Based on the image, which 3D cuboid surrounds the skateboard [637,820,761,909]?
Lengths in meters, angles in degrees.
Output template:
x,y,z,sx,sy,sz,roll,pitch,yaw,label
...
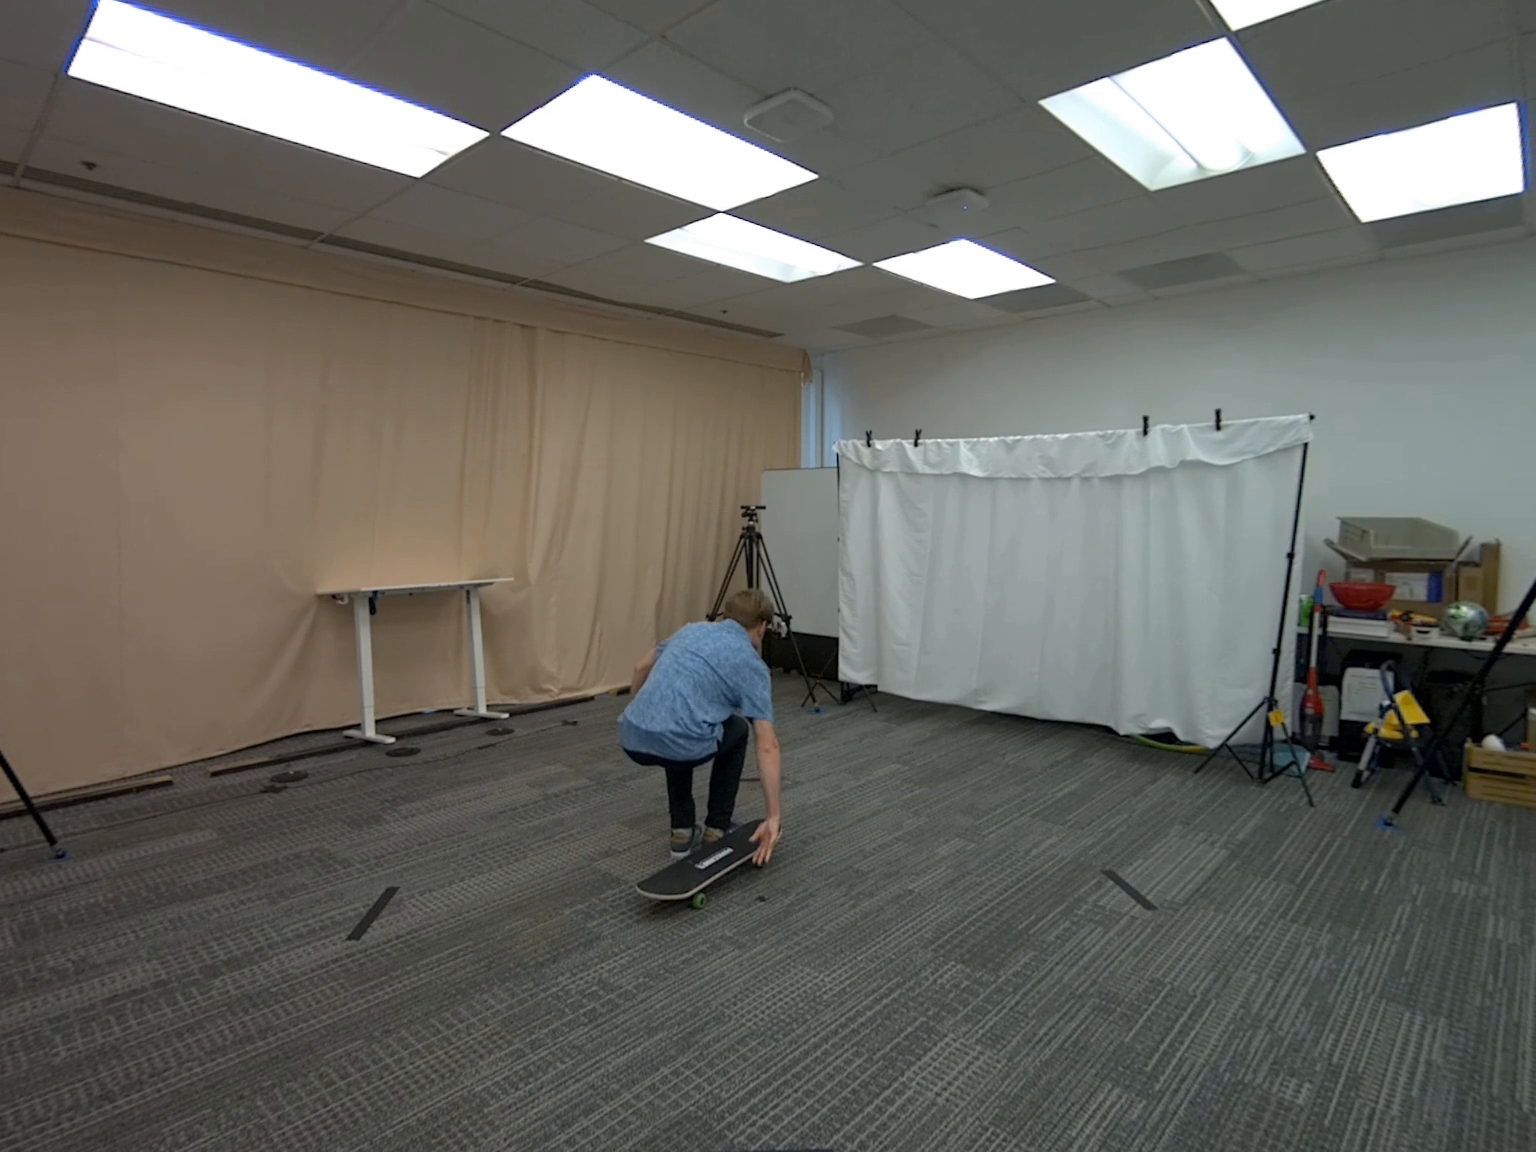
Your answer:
x,y,z,sx,sy,sz,roll,pitch,yaw,label
-0.200,1.073,3.123,0.199,0.110,0.764,2,5,33,skateboard
